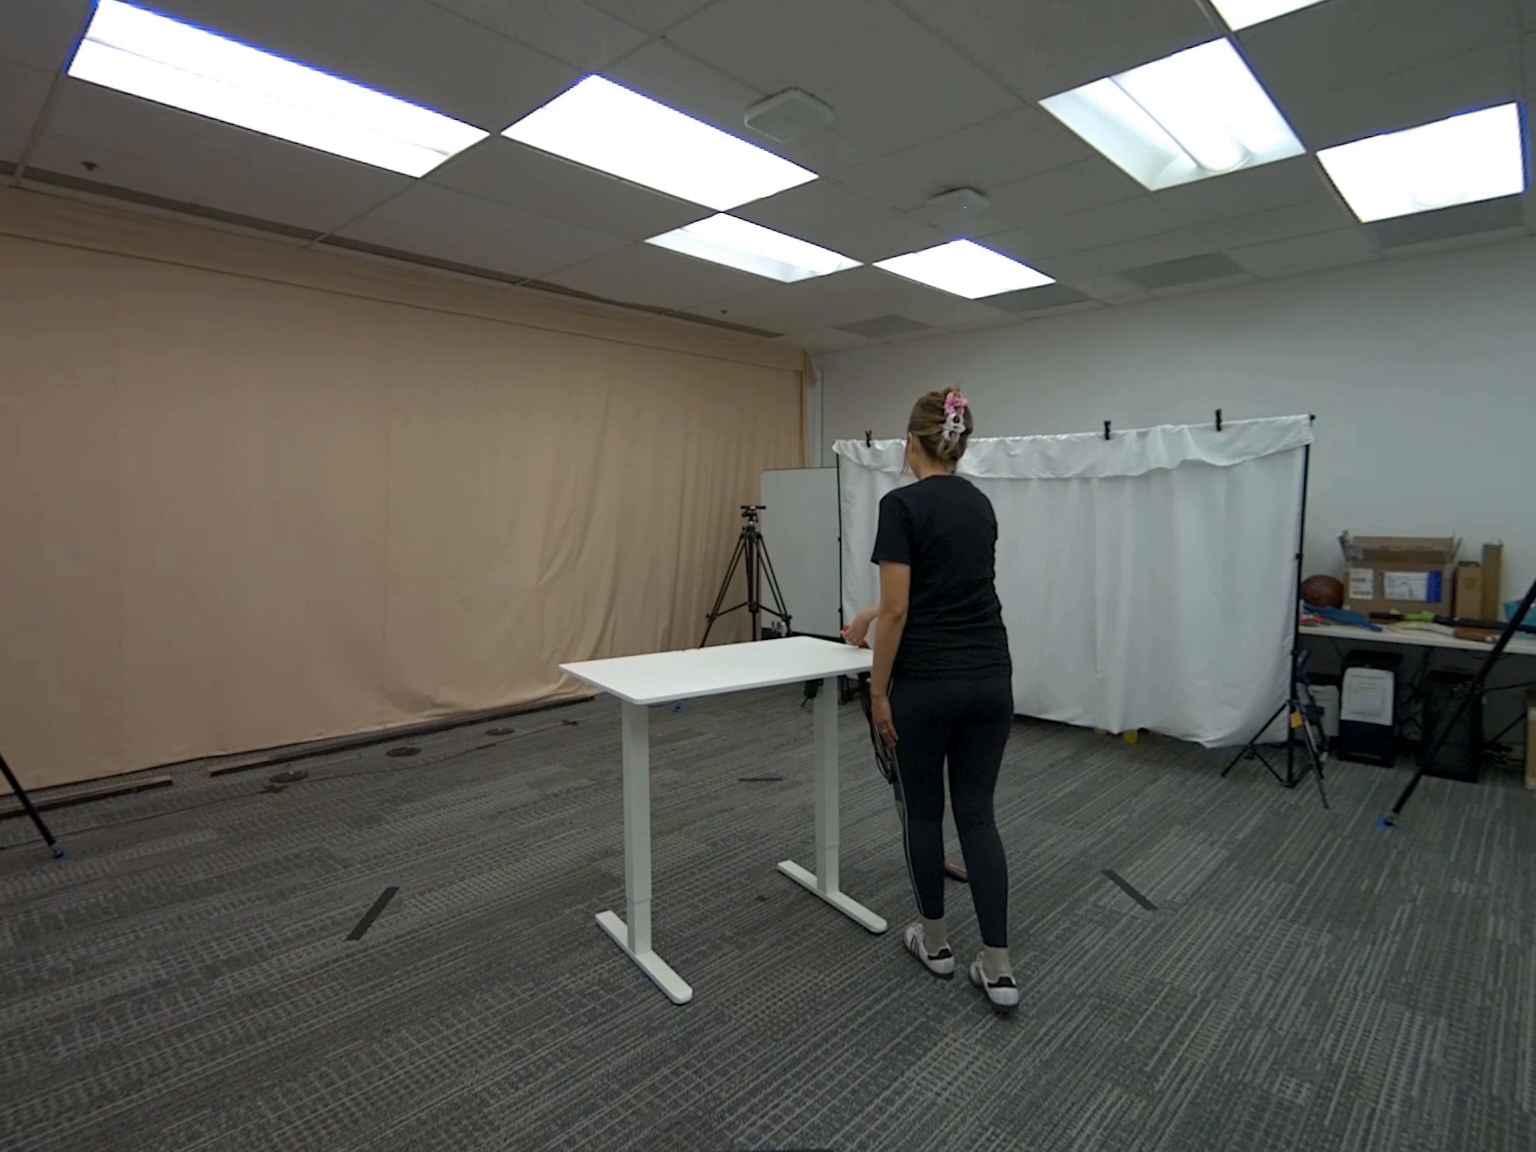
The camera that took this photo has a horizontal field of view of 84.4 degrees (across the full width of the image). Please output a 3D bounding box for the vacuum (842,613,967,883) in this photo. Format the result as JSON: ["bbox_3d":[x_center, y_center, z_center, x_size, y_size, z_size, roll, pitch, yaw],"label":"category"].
[{"bbox_3d":[0.477,0.661,3.069,0.260,1.034,0.142,-5,22,44],"label":"vacuum"}]
